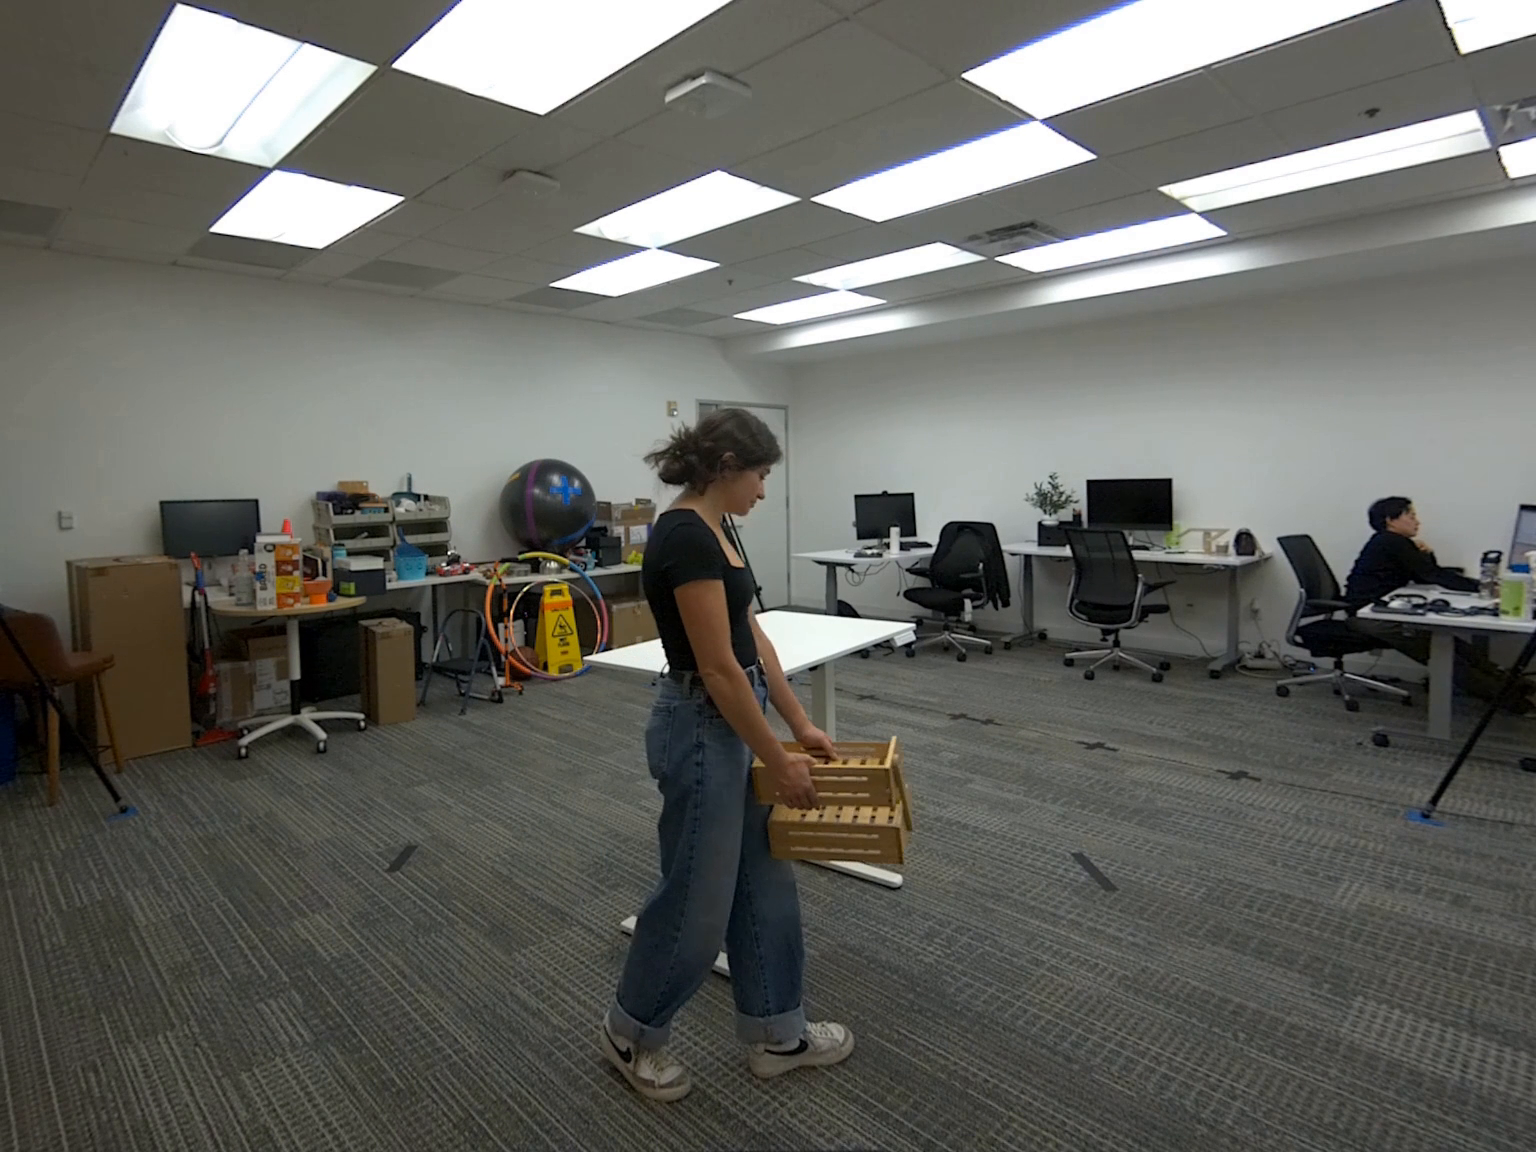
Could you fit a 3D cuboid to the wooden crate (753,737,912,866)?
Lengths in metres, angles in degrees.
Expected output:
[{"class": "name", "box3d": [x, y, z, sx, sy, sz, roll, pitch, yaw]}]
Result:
[{"class": "wooden crate", "box3d": [0.158, 0.487, 1.998, 0.329, 0.270, 0.301, -4, 14, 17]}]
